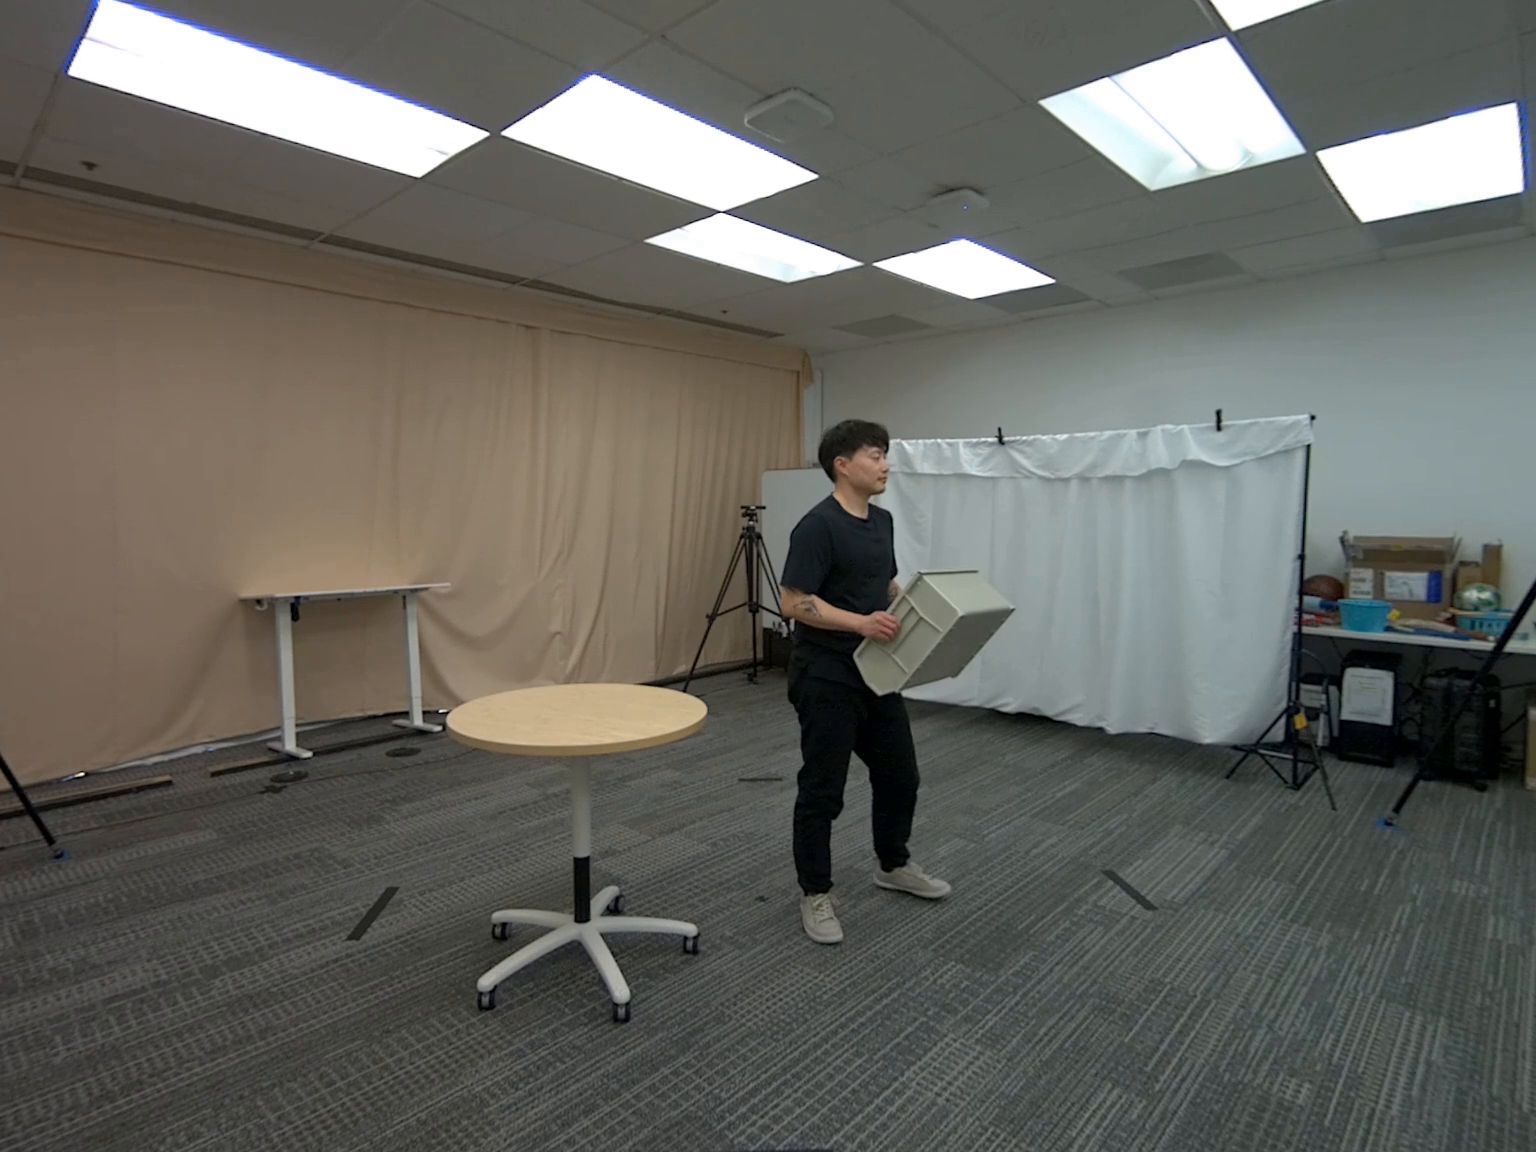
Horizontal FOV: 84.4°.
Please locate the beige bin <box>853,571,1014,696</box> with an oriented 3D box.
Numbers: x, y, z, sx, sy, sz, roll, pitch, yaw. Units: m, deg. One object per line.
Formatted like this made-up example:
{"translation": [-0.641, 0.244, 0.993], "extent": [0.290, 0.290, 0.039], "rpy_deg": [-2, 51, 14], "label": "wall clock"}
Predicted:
{"translation": [0.524, 0.182, 2.613], "extent": [0.409, 0.378, 0.195], "rpy_deg": [0, 43, -51], "label": "beige bin"}
